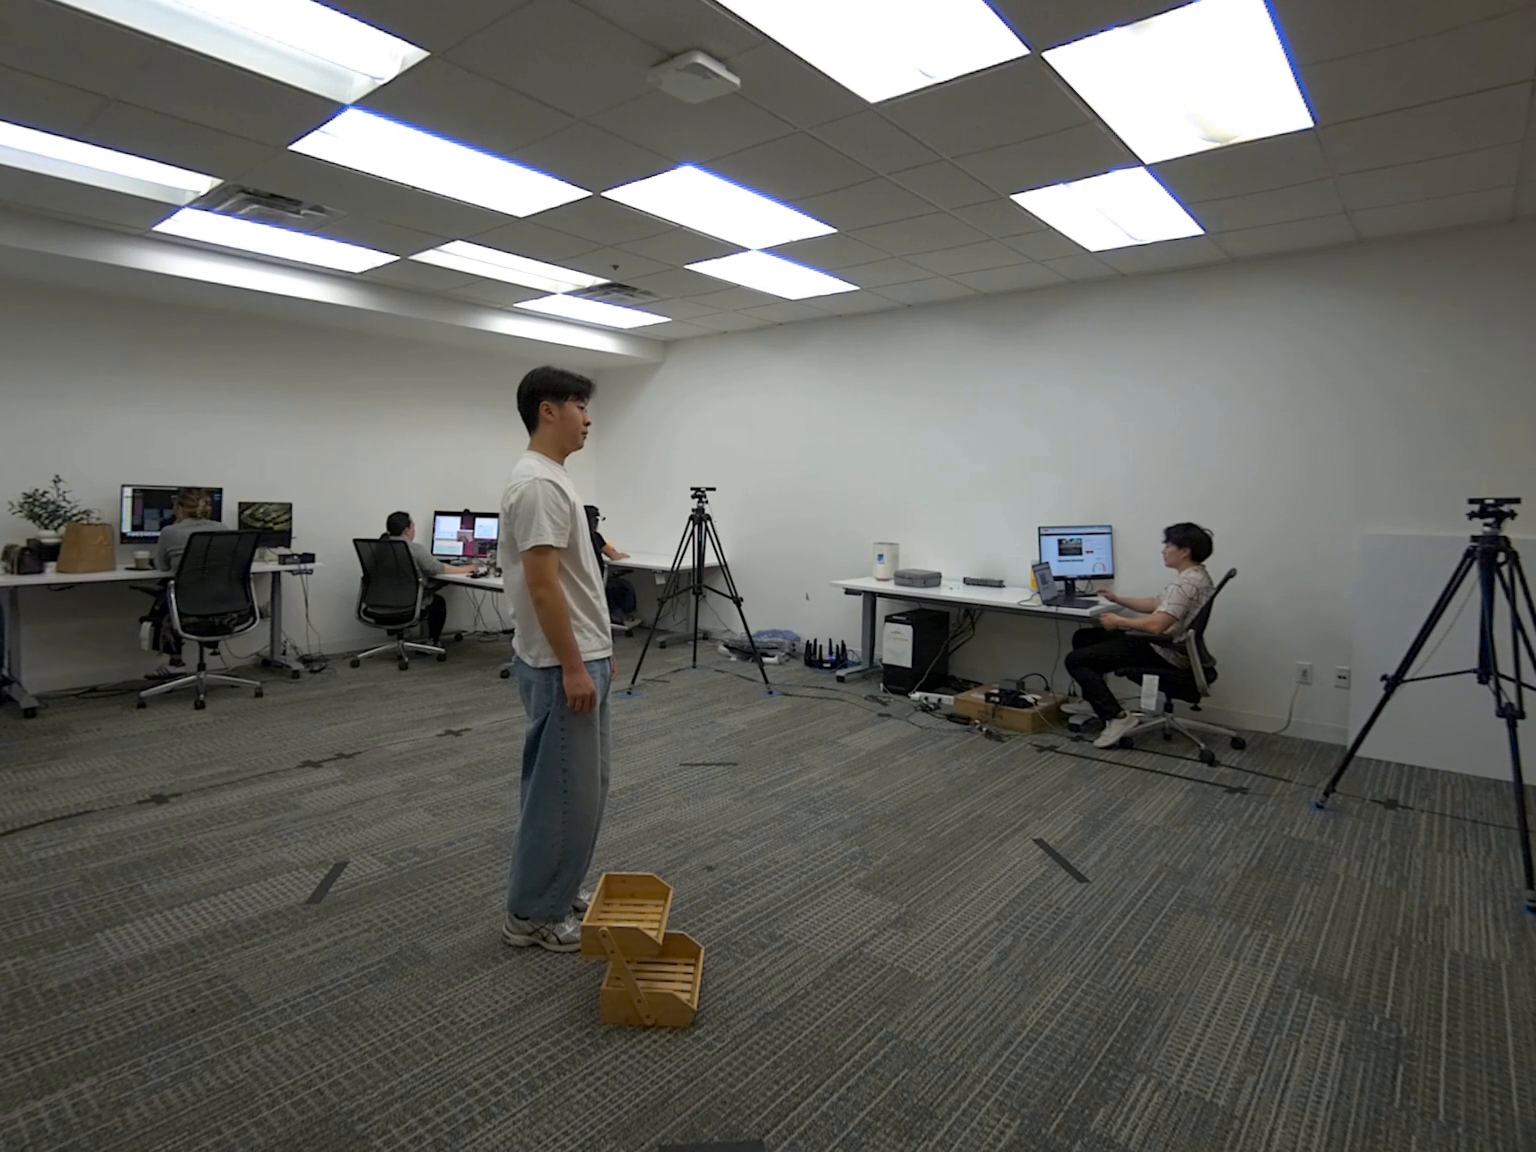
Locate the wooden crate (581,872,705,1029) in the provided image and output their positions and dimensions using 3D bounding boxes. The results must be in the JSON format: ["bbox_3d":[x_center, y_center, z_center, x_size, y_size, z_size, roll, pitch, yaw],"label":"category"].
[{"bbox_3d":[-0.334,1.012,2.323,0.303,0.272,0.325,1,5,1],"label":"wooden crate"}]
